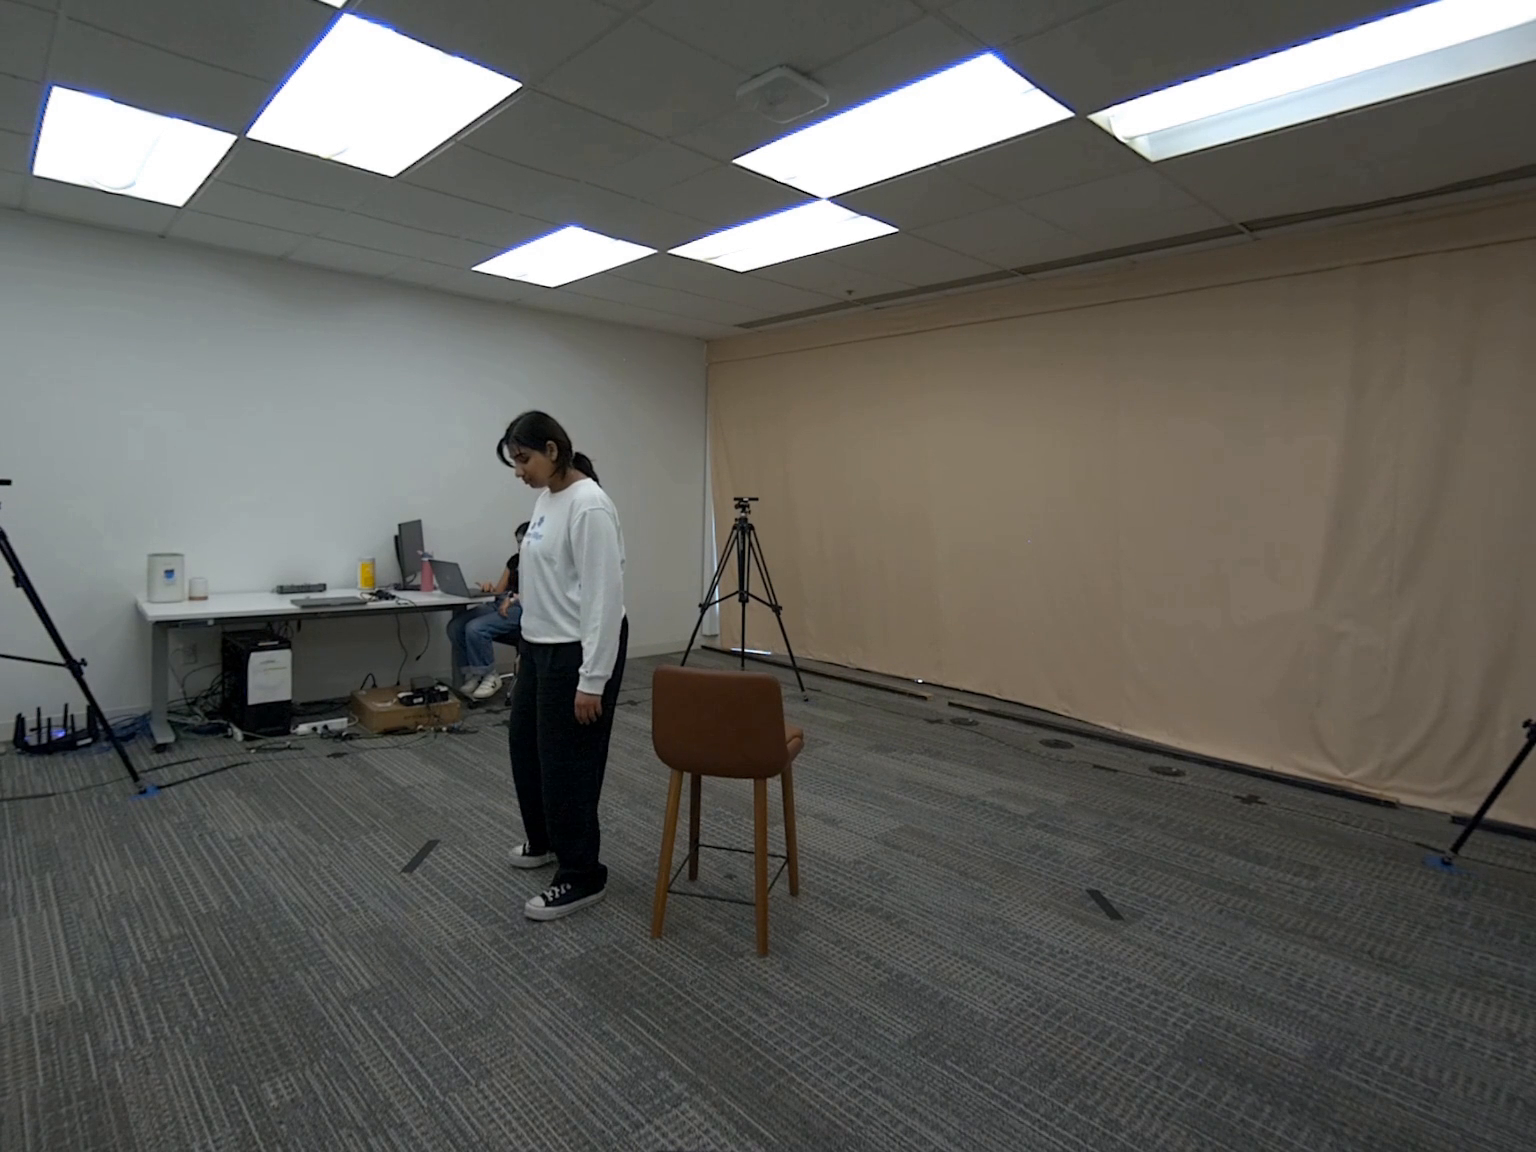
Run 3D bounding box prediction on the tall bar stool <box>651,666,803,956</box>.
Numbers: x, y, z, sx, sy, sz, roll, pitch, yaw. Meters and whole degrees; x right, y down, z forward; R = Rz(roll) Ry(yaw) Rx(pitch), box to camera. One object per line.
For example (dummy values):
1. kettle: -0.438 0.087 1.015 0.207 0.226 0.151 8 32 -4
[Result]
1. tall bar stool: -0.138 0.705 2.783 0.462 0.886 0.463 2 5 16
